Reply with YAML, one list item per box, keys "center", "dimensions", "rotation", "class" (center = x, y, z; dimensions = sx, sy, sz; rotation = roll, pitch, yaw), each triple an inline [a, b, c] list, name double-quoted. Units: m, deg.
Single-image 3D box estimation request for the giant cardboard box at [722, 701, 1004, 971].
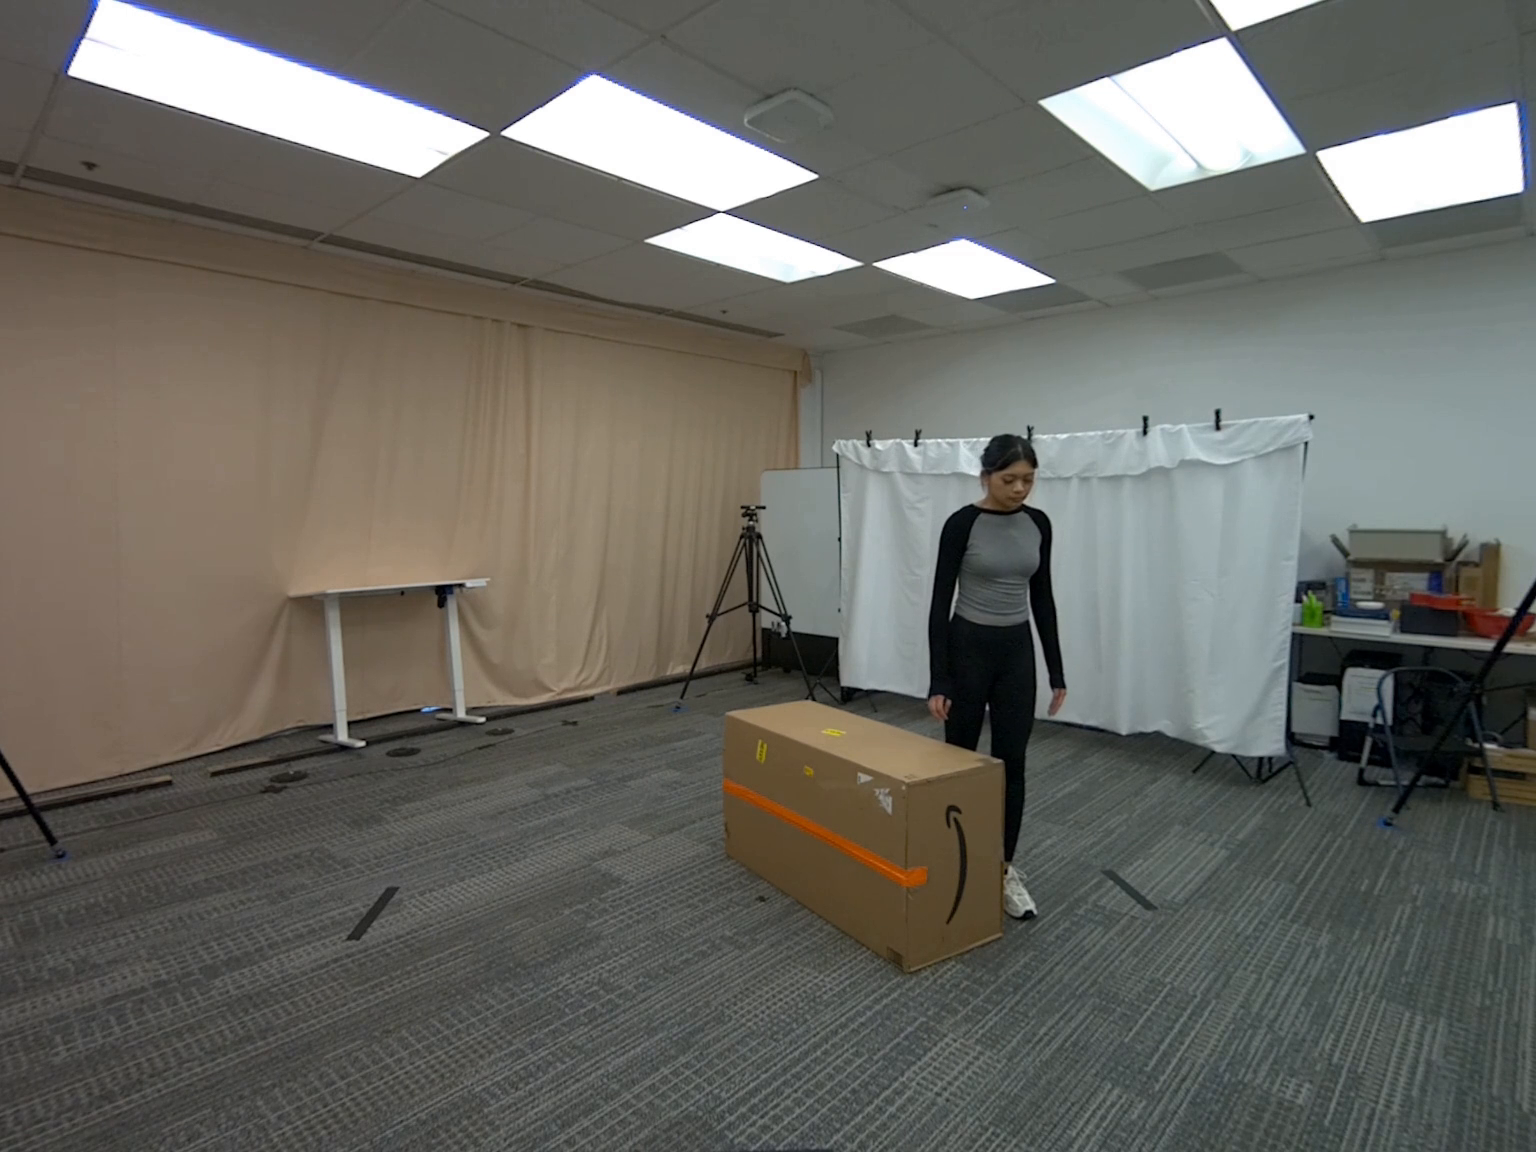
- center: [0.291, 0.852, 3.024]
  dimensions: [0.414, 0.576, 1.057]
  rotation: [-2, 4, -33]
  class: "giant cardboard box"
